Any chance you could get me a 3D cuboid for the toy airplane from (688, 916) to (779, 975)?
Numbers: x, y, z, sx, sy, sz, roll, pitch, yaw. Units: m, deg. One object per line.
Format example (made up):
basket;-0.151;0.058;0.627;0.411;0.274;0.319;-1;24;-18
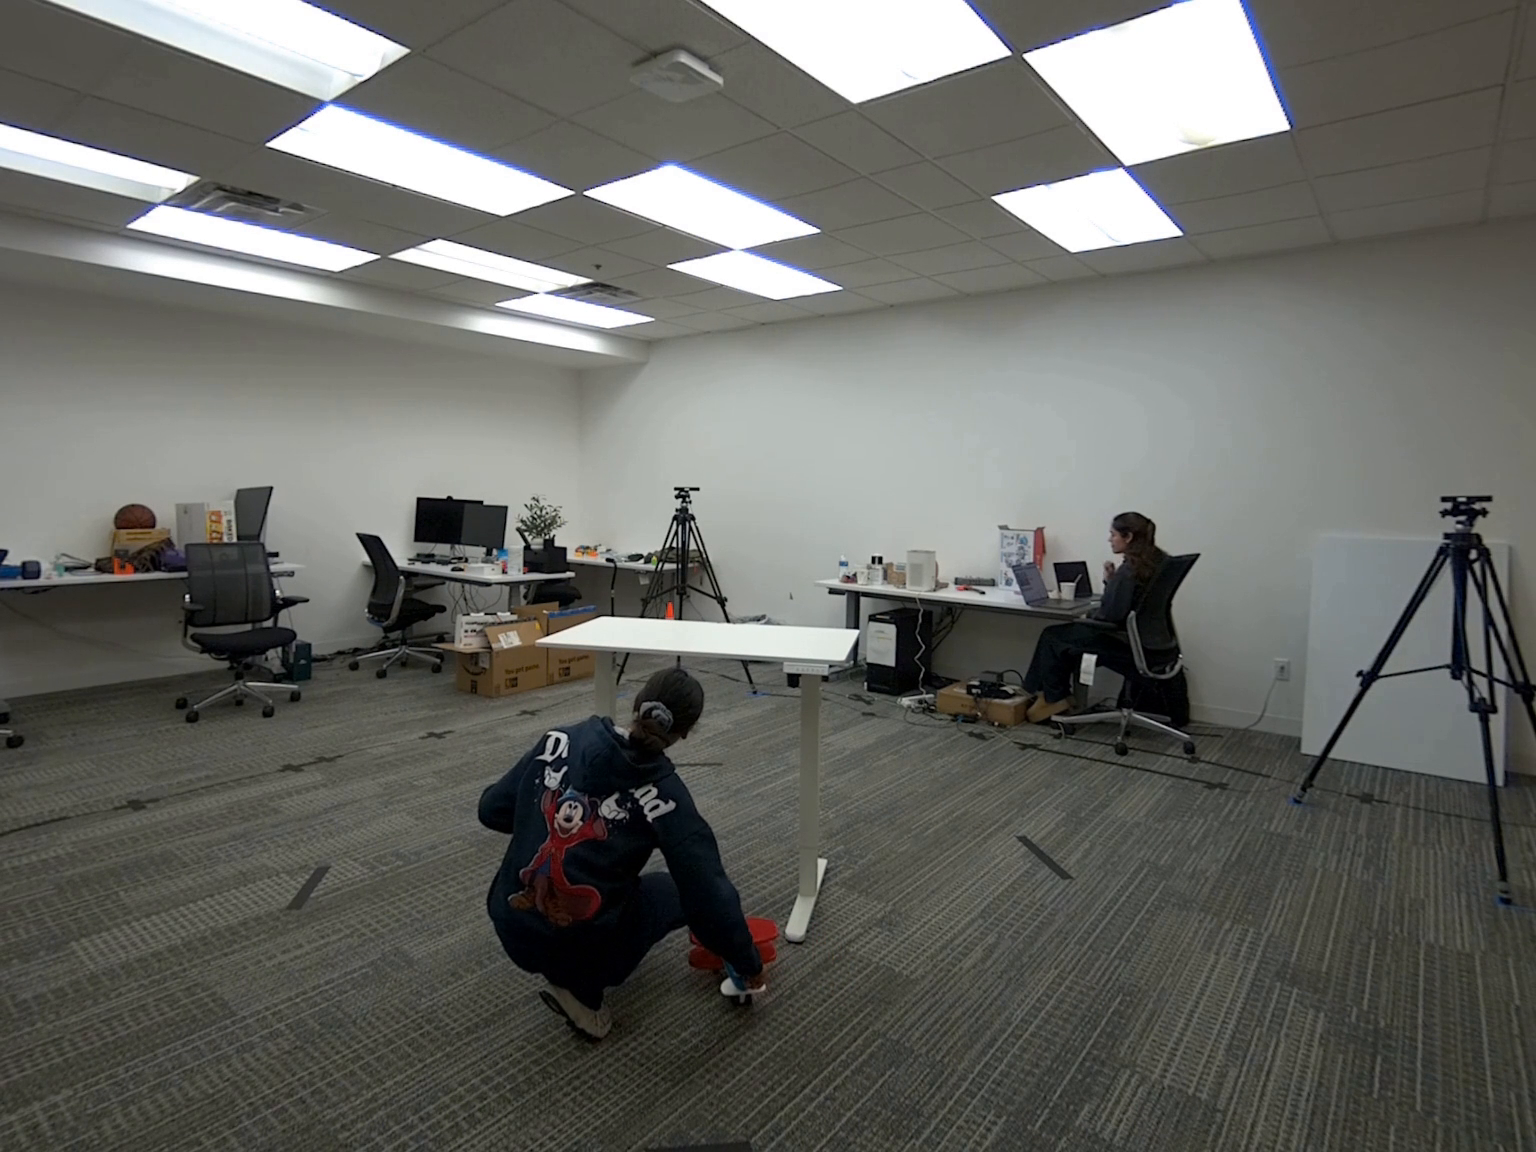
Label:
toy airplane;-0.059;1.069;2.376;0.244;0.156;0.268;-3;7;-38
